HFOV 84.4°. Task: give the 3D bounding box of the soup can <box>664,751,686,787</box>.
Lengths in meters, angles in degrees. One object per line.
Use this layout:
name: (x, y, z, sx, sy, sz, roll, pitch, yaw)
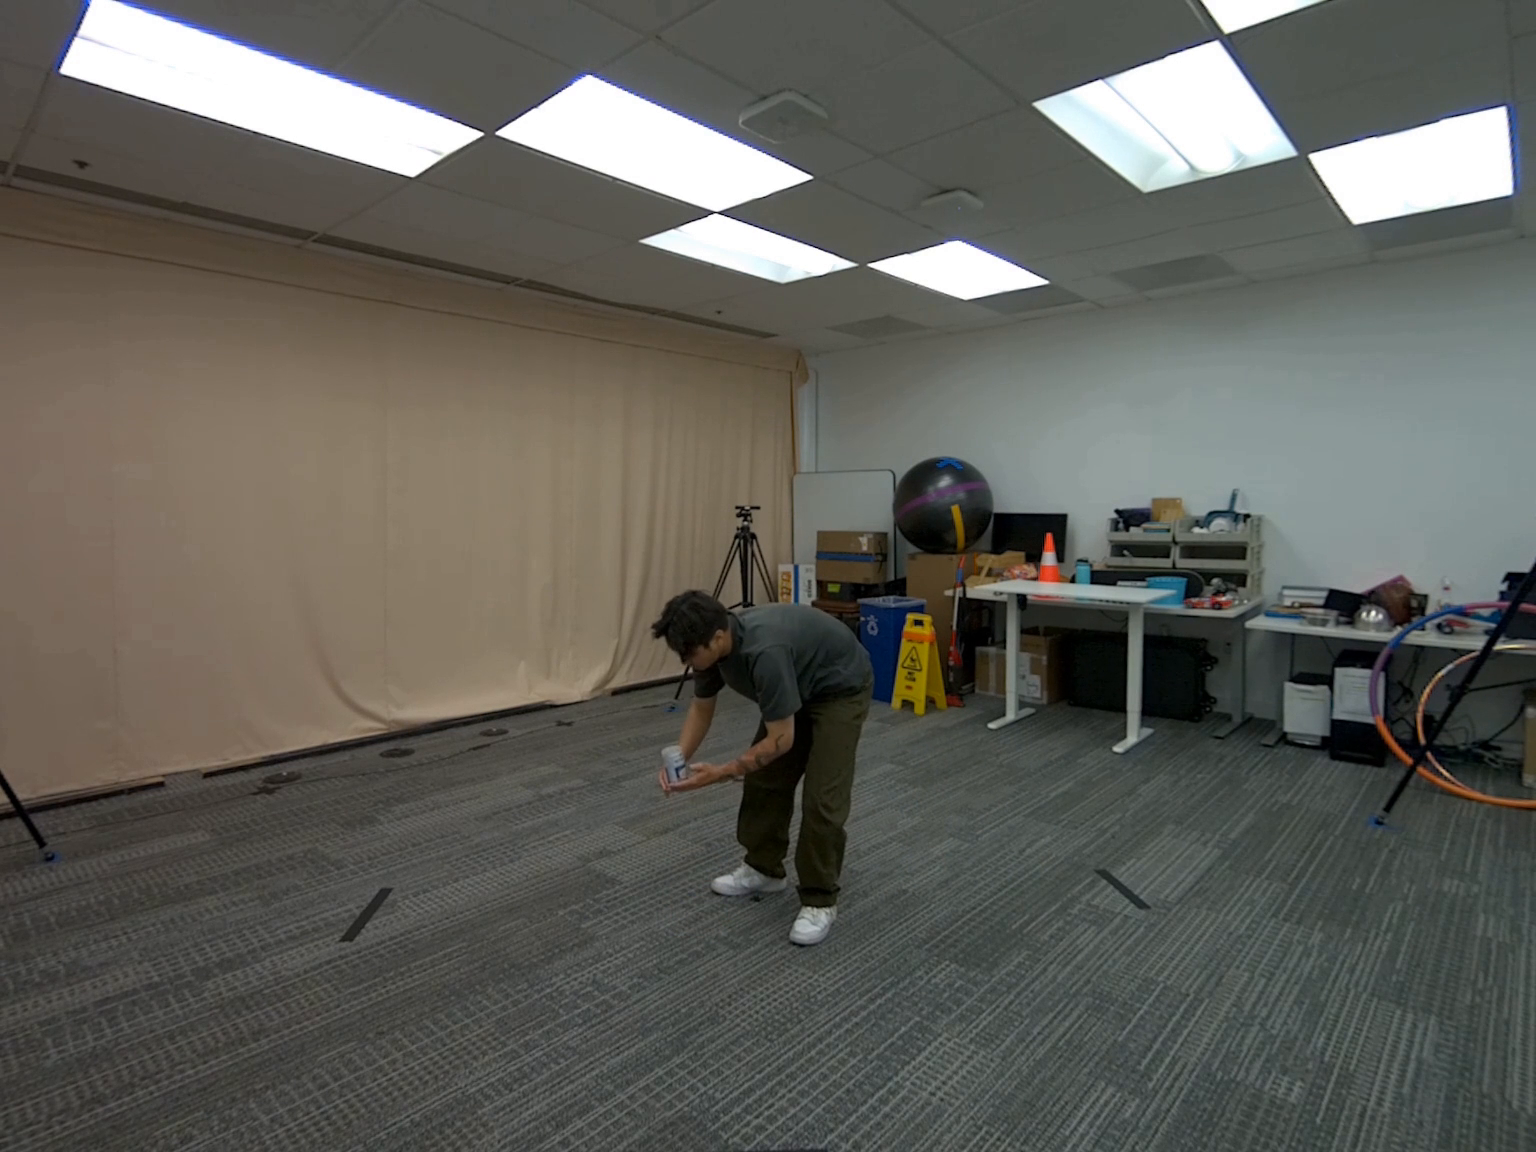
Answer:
soup can: (-0.267, 0.665, 2.731, 0.067, 0.121, 0.067, -6, 5, -1)
